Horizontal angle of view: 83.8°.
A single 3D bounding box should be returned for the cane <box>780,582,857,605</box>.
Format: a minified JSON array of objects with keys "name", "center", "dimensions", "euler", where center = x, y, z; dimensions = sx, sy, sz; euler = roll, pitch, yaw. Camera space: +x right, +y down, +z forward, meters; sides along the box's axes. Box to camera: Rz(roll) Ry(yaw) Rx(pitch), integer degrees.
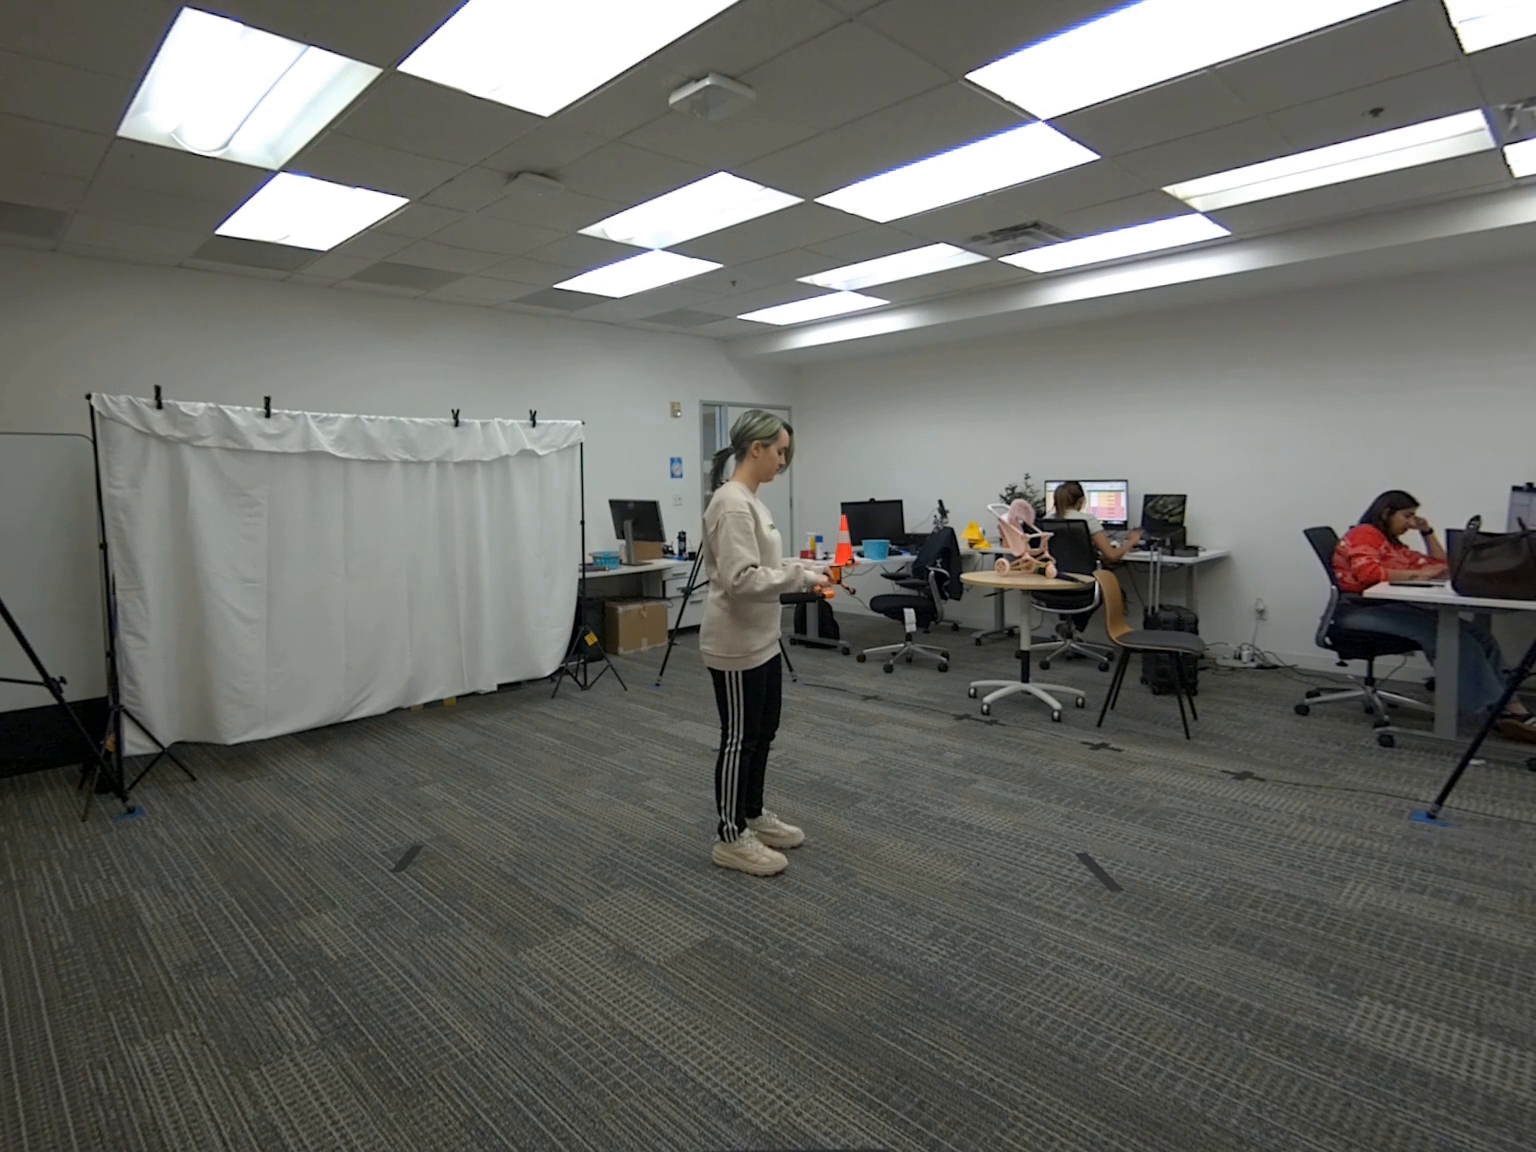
[{"name":"cane","center":[0.191,0.037,3.015],"dimensions":[0.208,0.151,0.900],"euler":[-2,3,9]}]
